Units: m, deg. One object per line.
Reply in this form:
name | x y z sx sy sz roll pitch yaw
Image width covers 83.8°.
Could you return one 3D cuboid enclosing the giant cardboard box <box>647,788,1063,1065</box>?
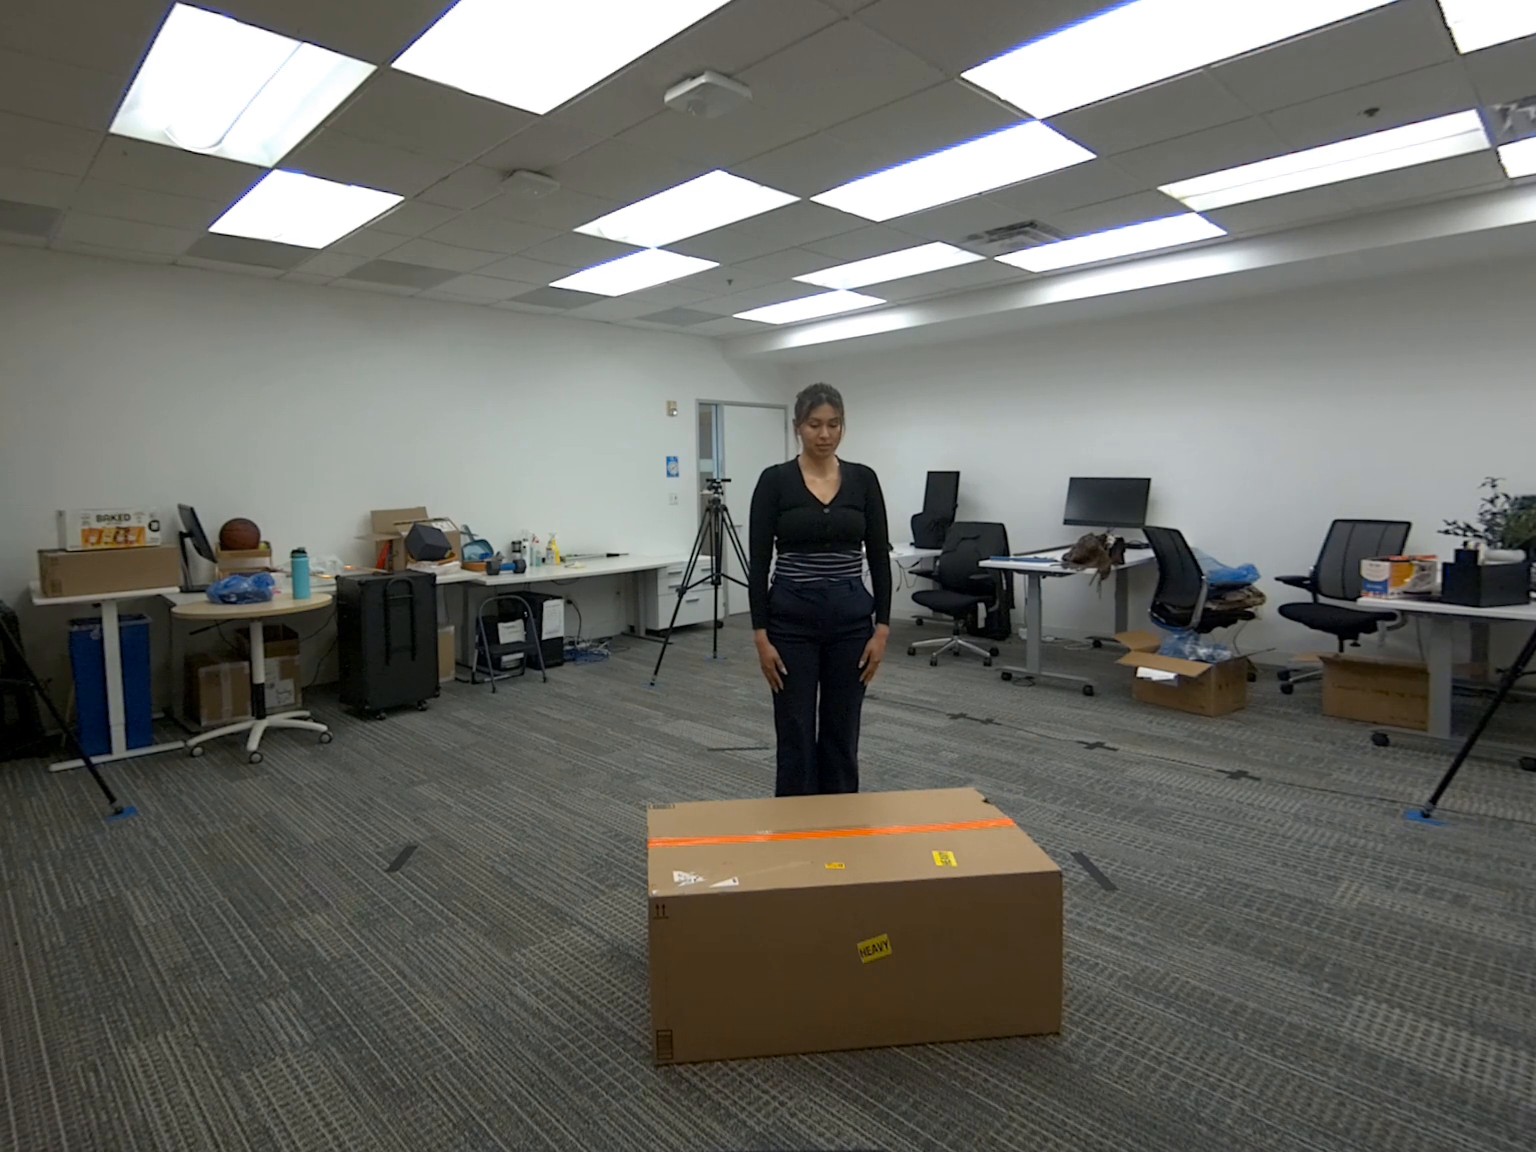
giant cardboard box | 0.188 0.908 2.353 1.020 0.424 0.583 -2 5 -6
